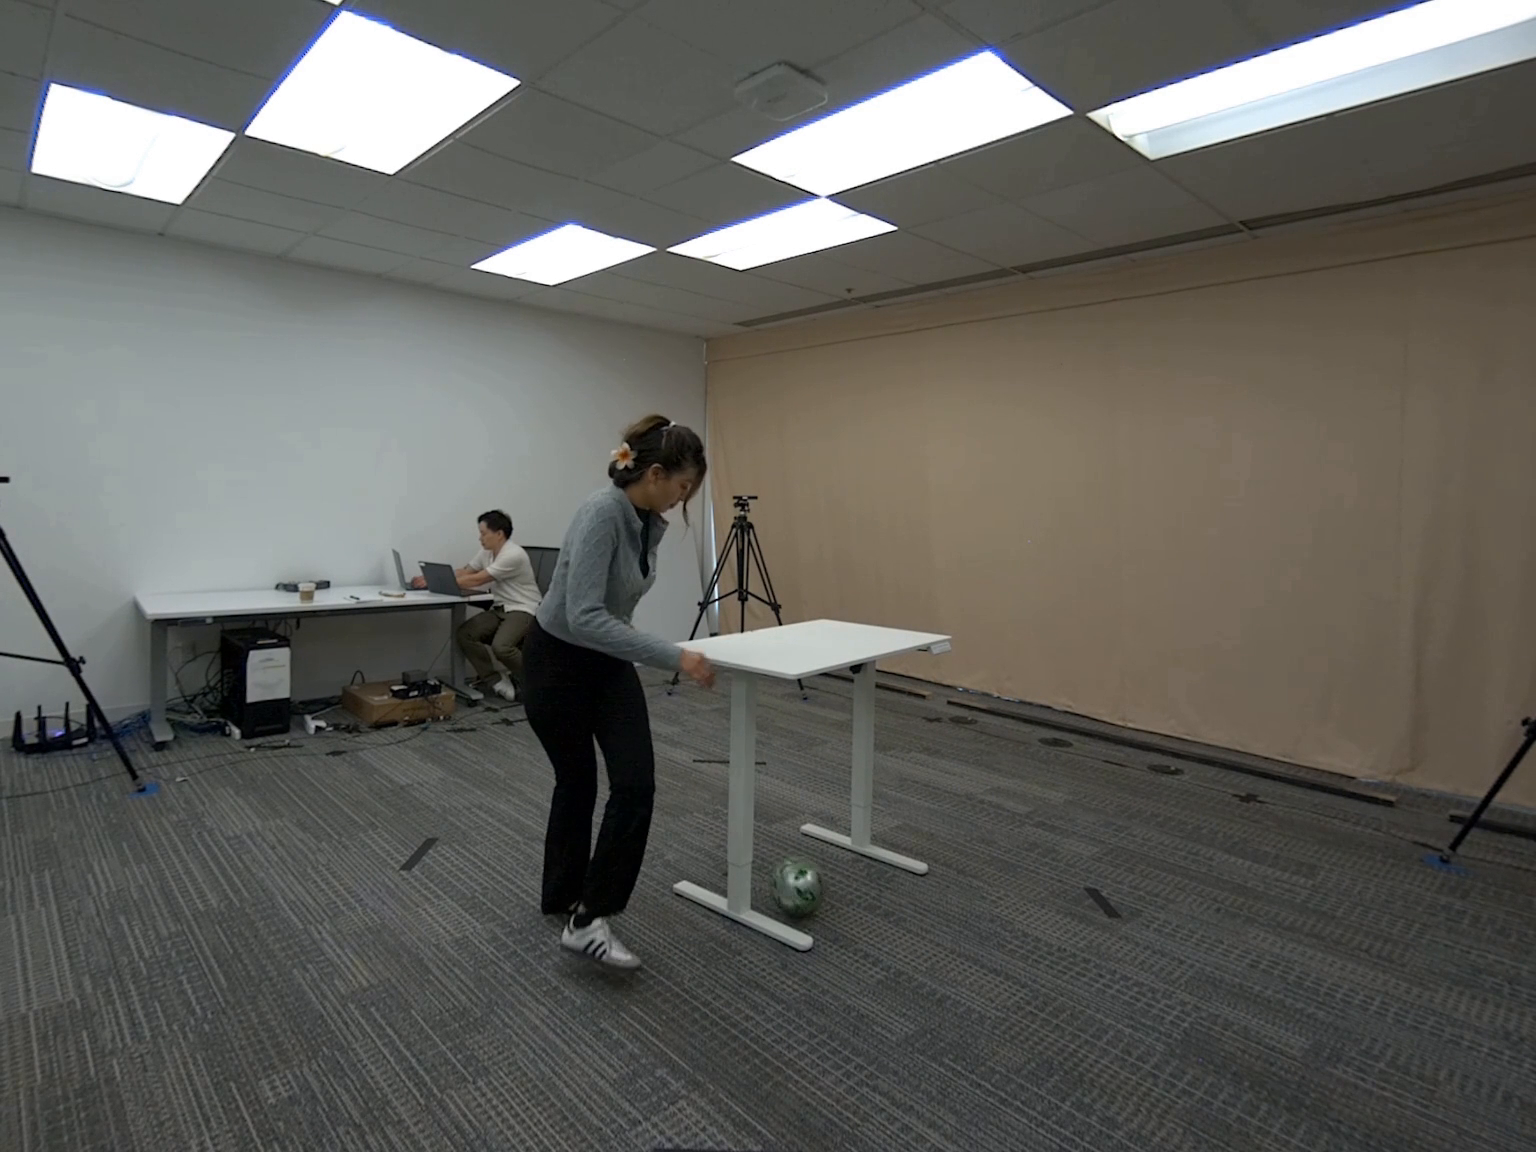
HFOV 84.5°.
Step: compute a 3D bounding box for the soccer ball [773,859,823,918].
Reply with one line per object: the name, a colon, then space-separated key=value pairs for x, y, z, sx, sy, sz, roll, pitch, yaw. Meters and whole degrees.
soccer ball: x=0.082 y=1.034 z=2.801 sx=0.187 sy=0.187 sz=0.188 roll=1 pitch=4 yaw=-1
